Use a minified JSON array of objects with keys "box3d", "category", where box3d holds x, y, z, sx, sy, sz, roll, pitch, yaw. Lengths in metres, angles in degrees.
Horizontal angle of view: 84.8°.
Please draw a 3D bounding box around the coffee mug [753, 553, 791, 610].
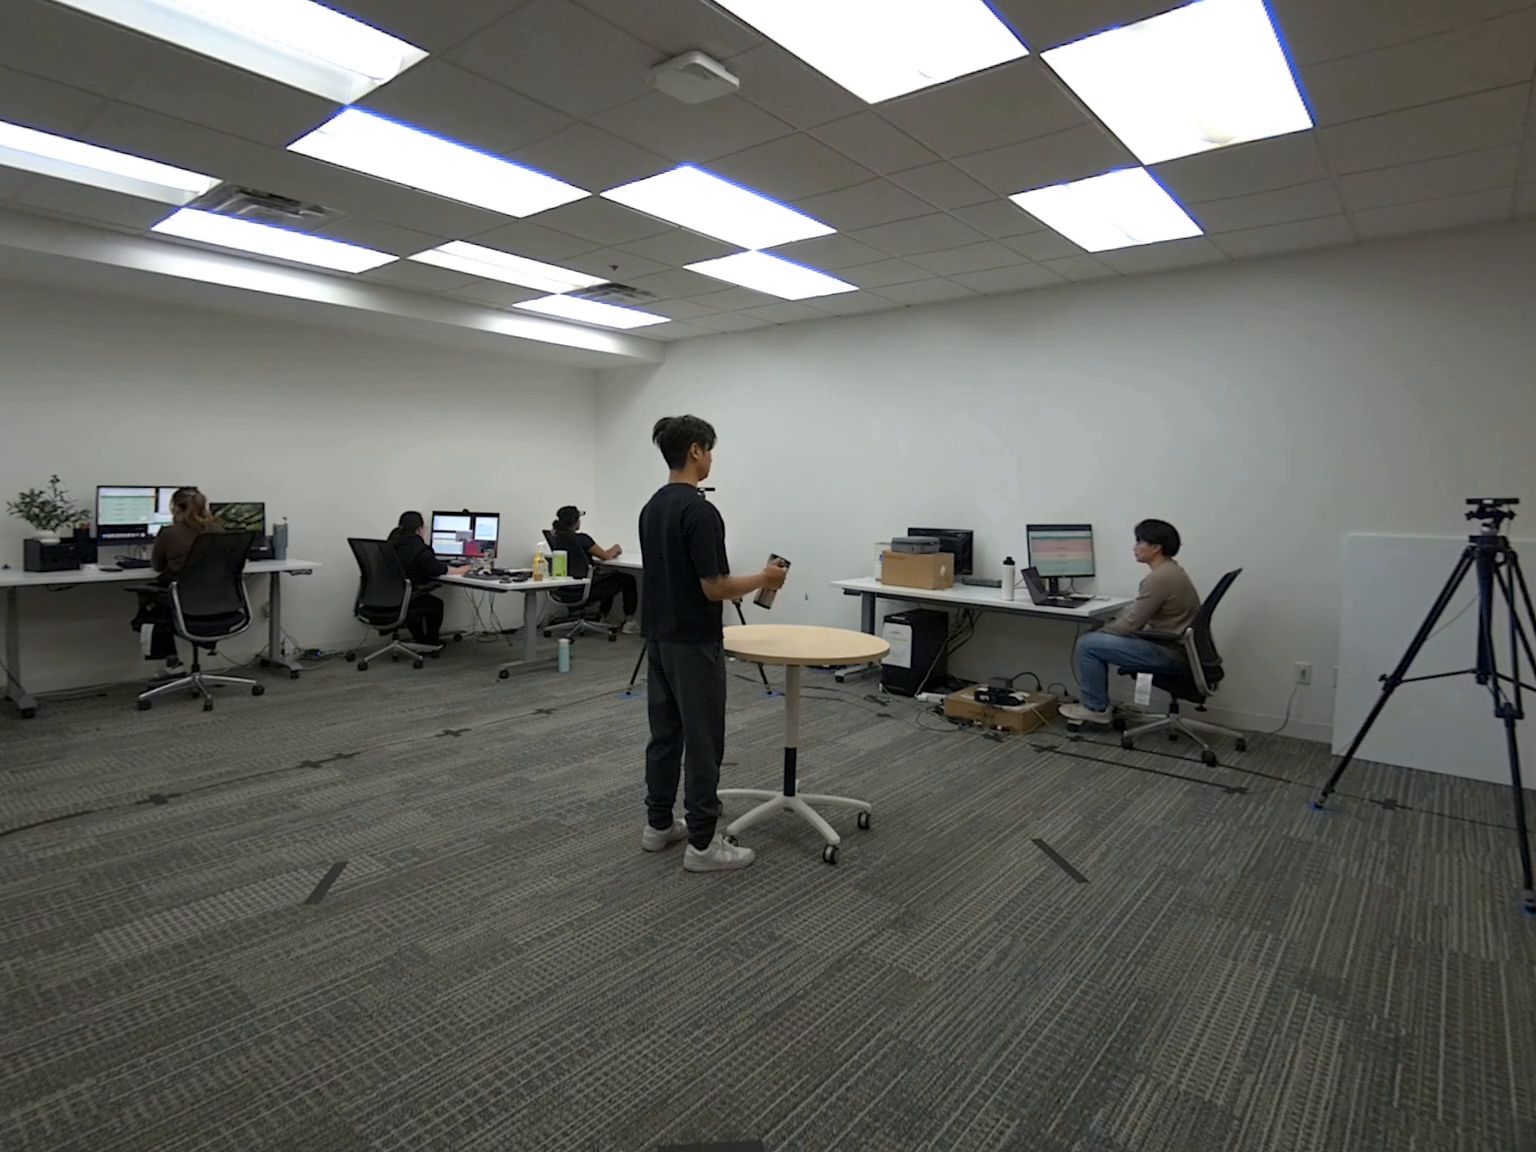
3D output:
[{"box3d":[-0.014,0.022,3.262,0.091,0.203,0.118,23,0,26],"category":"coffee mug"}]
